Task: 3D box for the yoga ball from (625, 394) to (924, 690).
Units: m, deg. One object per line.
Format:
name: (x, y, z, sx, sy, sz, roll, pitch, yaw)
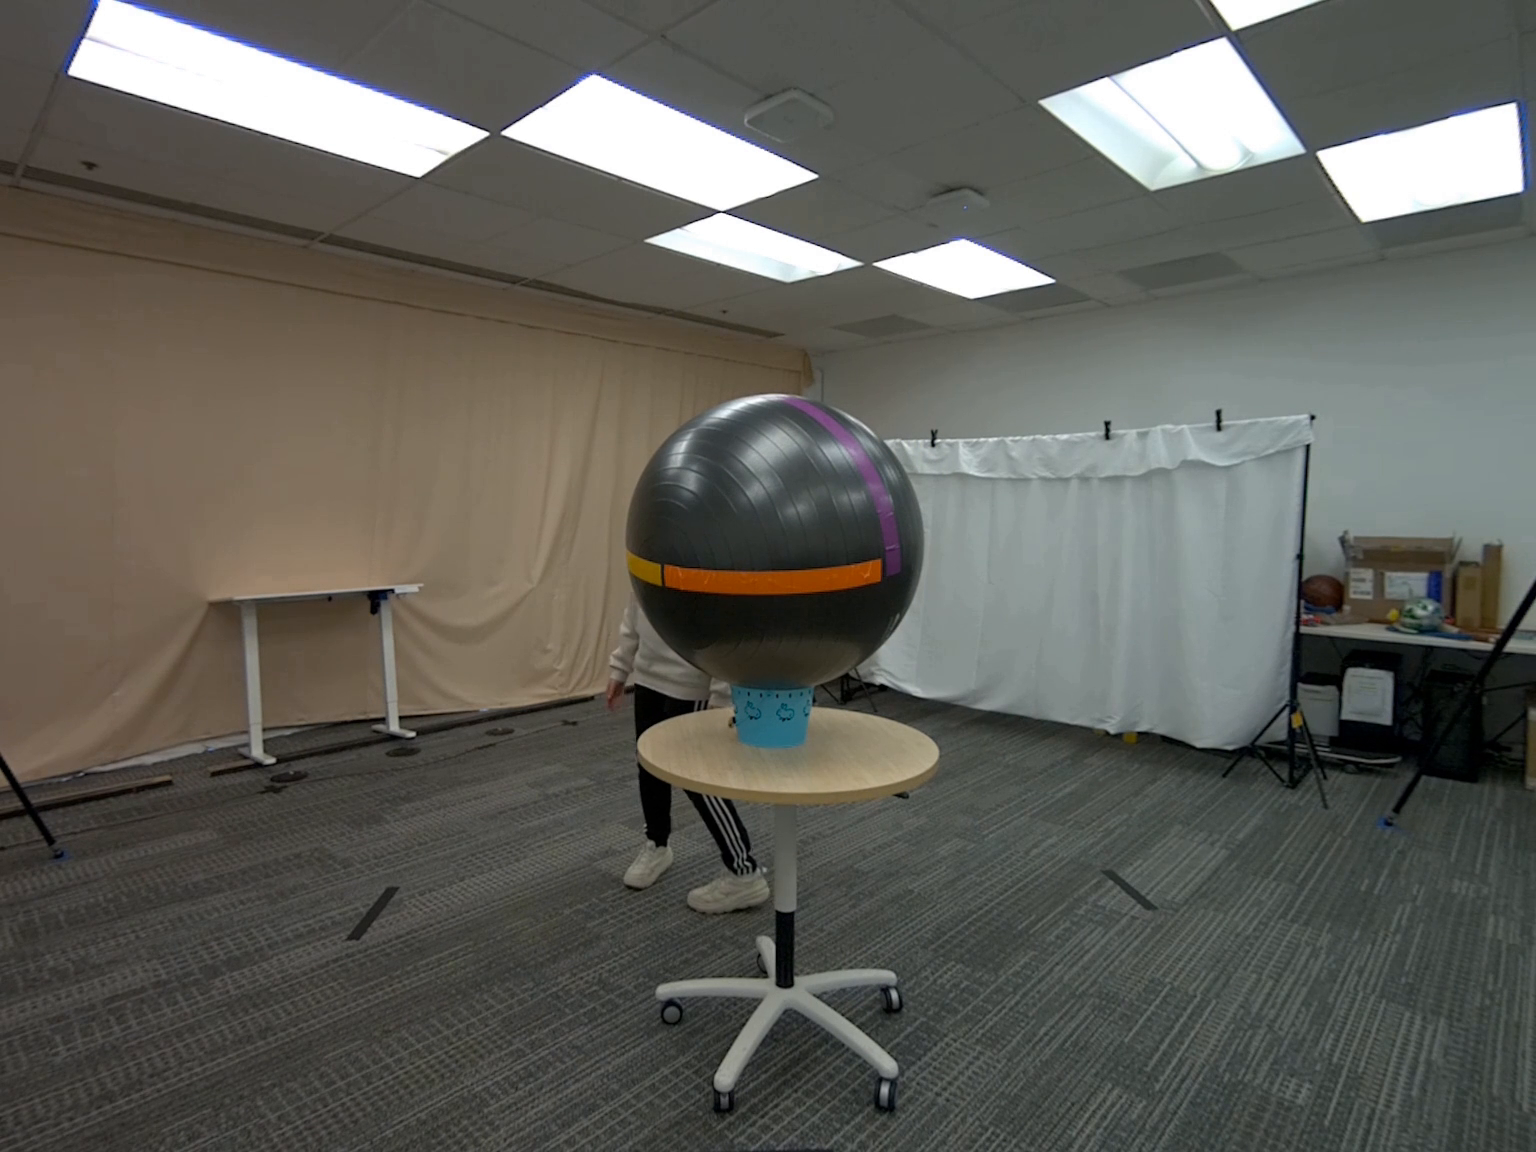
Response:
yoga ball: (0.016, -0.082, 2.166, 0.757, 0.756, 0.760, 0, 4, -2)
